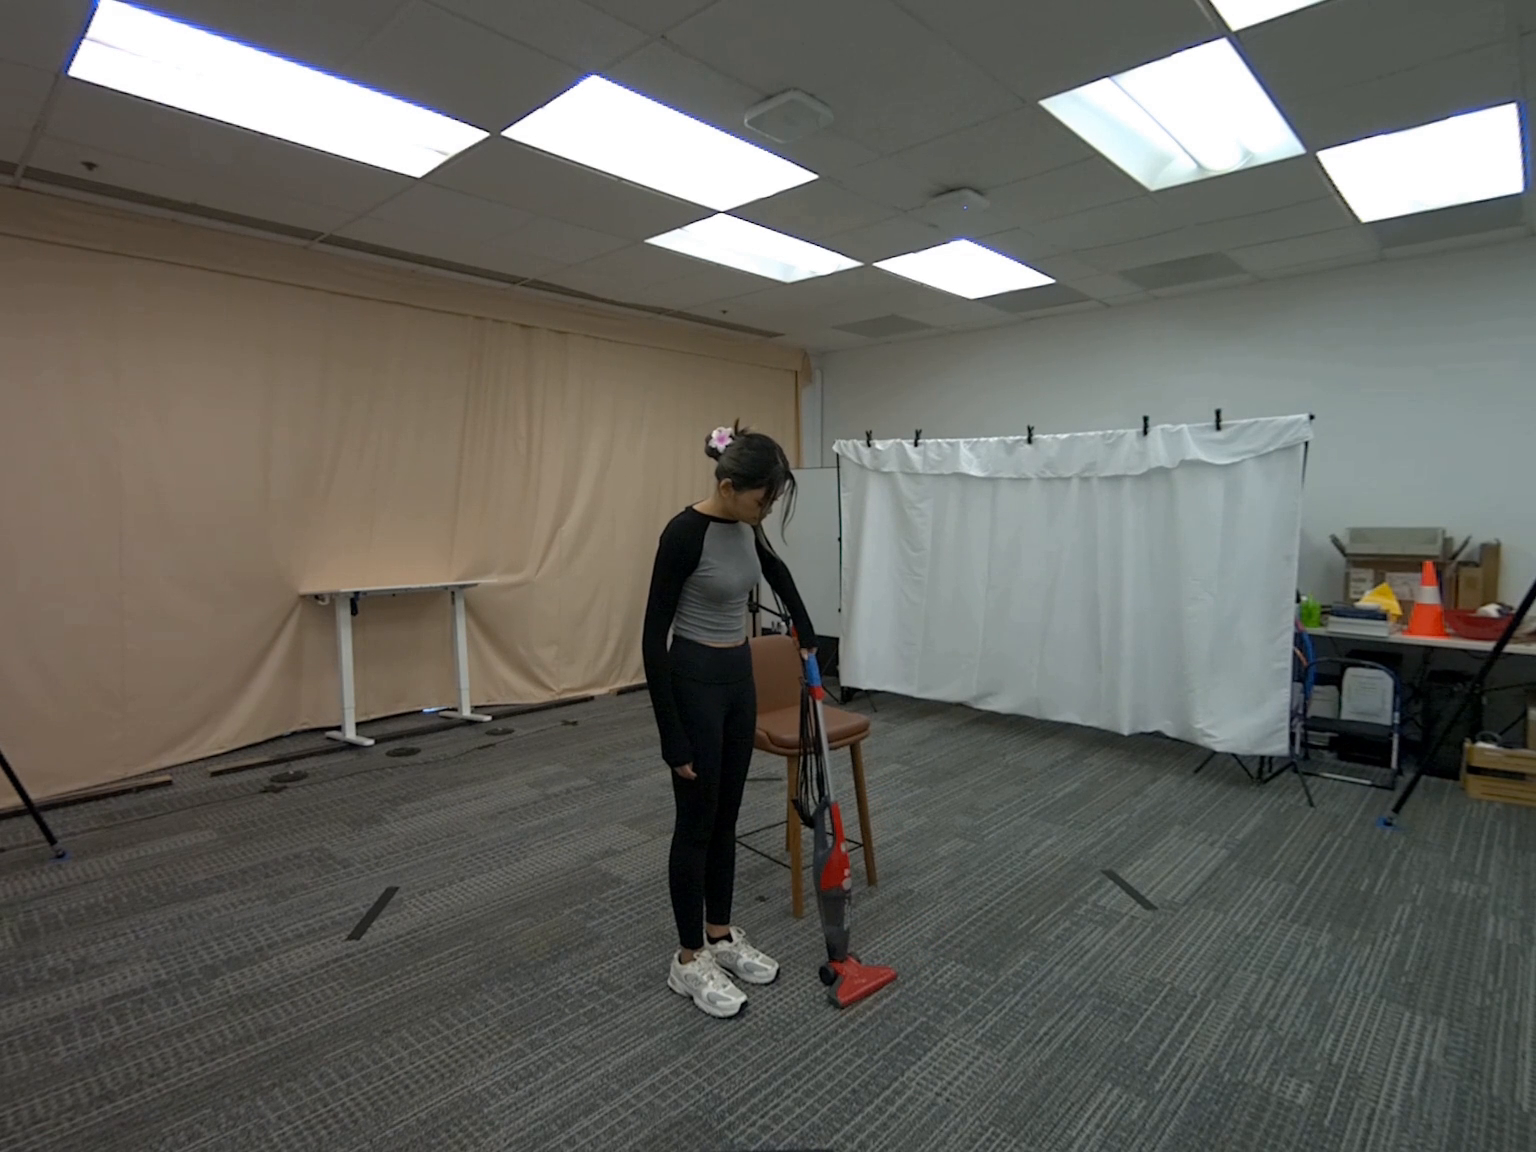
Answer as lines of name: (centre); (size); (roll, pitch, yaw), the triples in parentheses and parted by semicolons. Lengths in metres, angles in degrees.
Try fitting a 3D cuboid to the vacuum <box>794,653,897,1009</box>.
vacuum: (0.170, 0.683, 2.537); (0.147, 1.057, 0.244); (-18, -12, 41)
